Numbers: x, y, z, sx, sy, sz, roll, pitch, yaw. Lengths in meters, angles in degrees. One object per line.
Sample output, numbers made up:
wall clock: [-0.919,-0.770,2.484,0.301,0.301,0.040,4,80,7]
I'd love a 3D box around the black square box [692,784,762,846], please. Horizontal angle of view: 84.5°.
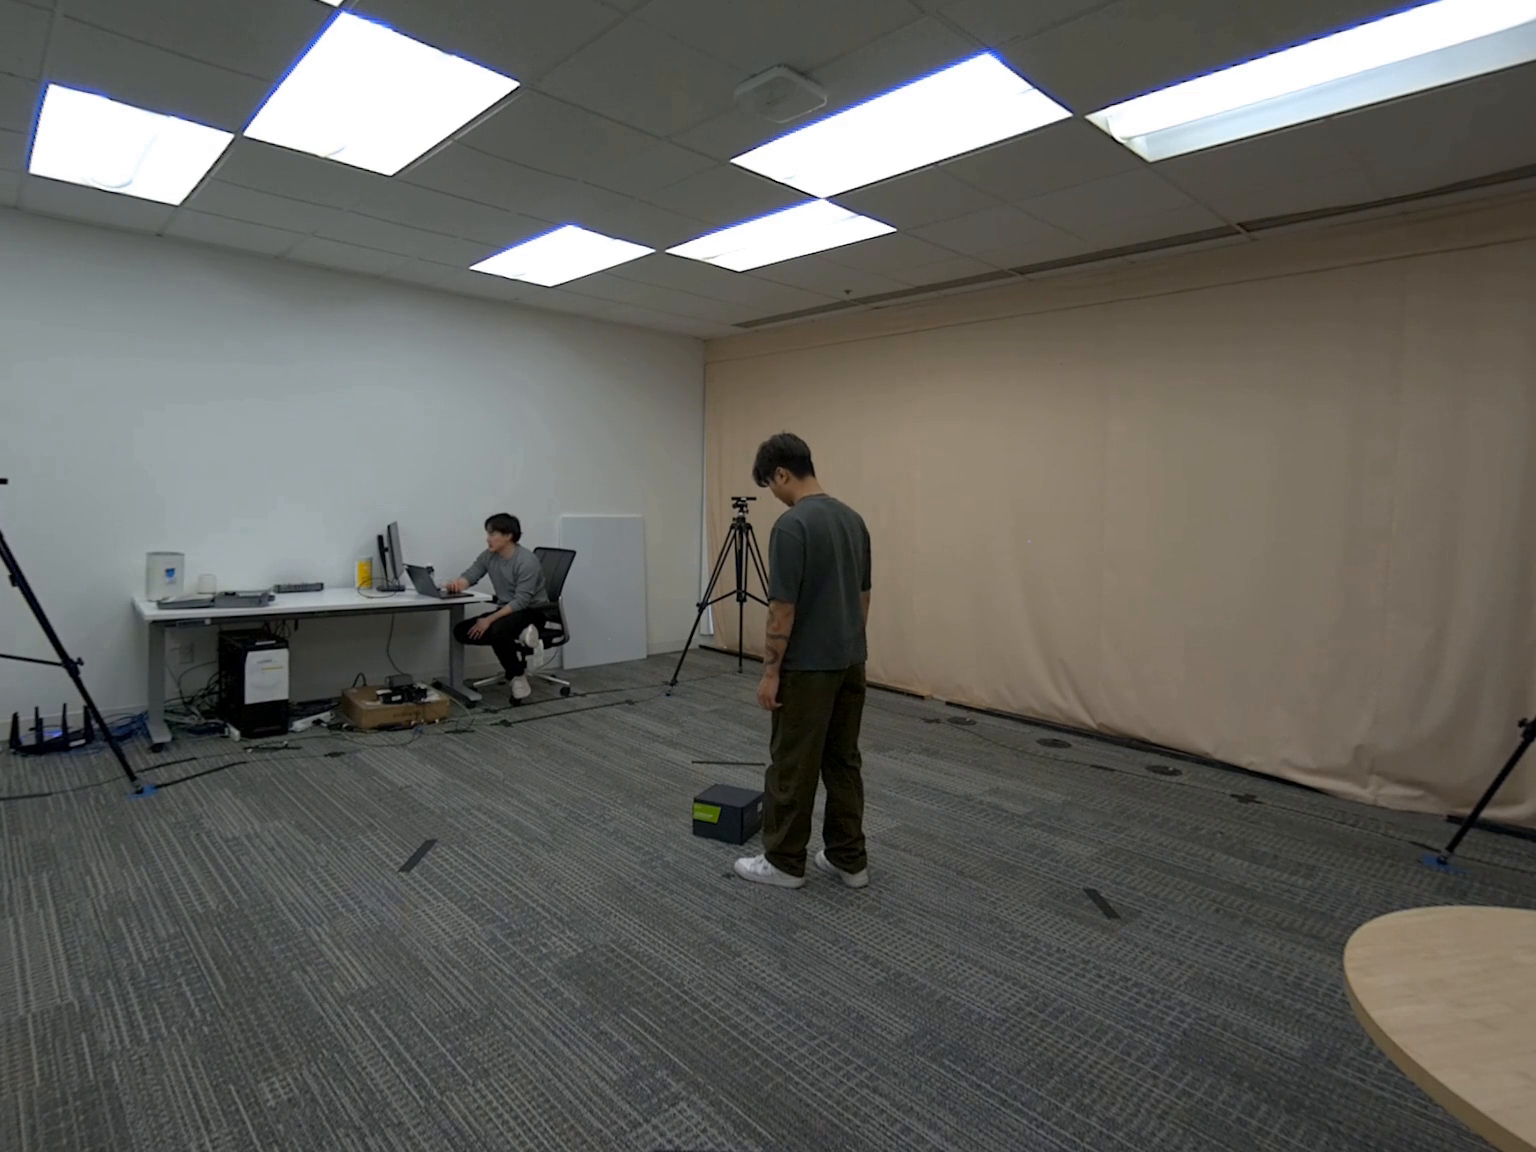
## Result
black square box: [-0.174,0.985,3.517,0.232,0.155,0.213,3,5,25]
